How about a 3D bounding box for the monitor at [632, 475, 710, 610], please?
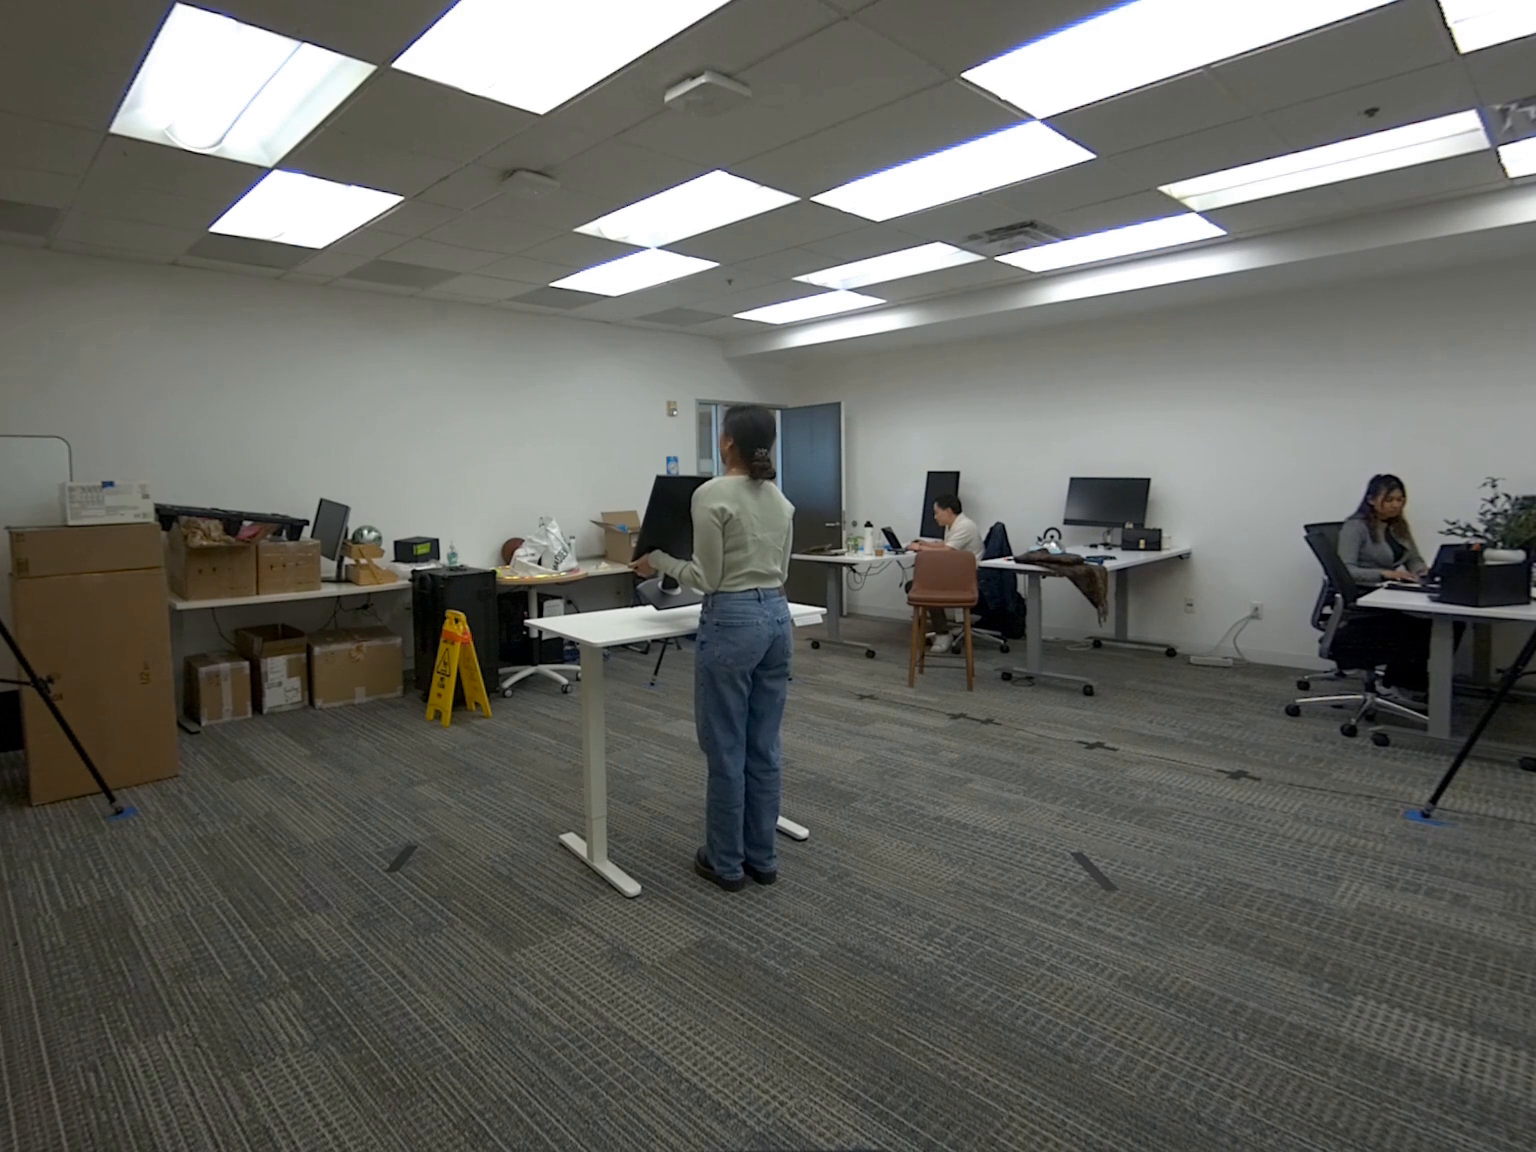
[{"bbox_3d":[-0.265,-0.138,3.103,0.525,0.517,0.194,-5,41,-45],"label":"monitor"}]
